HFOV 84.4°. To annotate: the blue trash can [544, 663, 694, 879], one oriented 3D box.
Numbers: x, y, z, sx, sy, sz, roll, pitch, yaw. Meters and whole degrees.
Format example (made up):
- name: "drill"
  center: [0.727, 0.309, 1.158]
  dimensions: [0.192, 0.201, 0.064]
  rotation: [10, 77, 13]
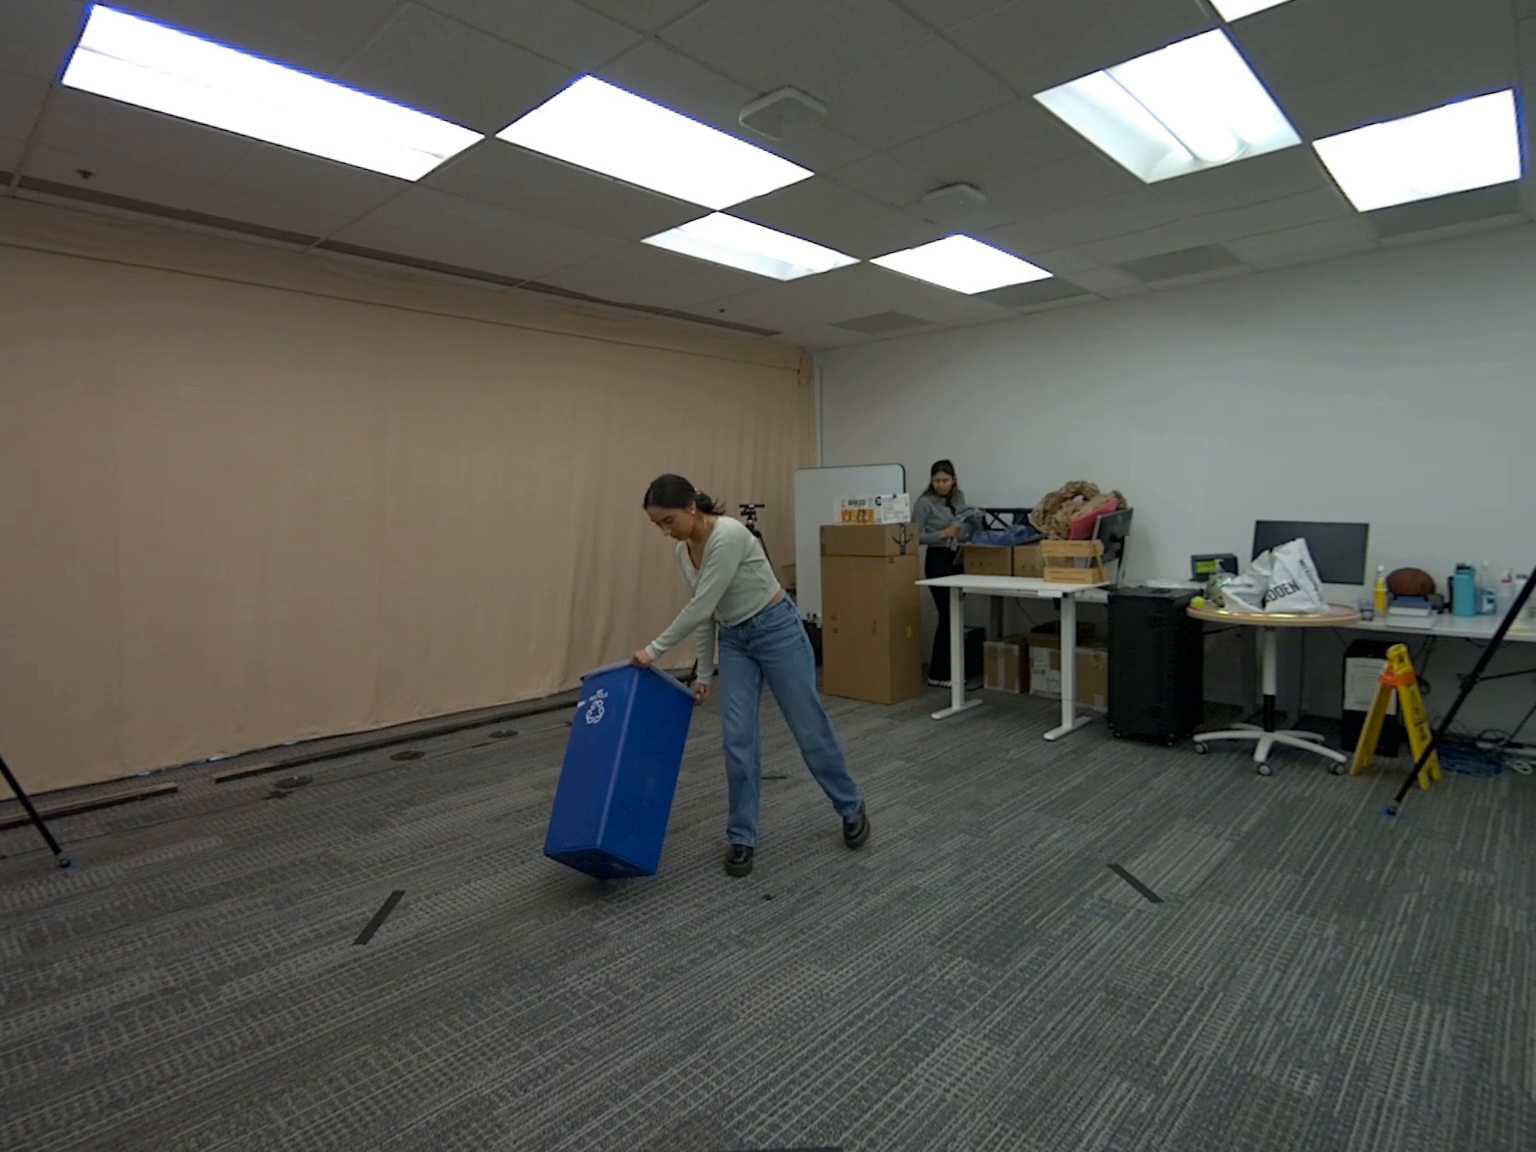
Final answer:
- name: "blue trash can"
  center: [-0.542, 0.738, 3.191]
  dimensions: [0.383, 0.722, 0.365]
  rotation: [-18, -43, 34]
